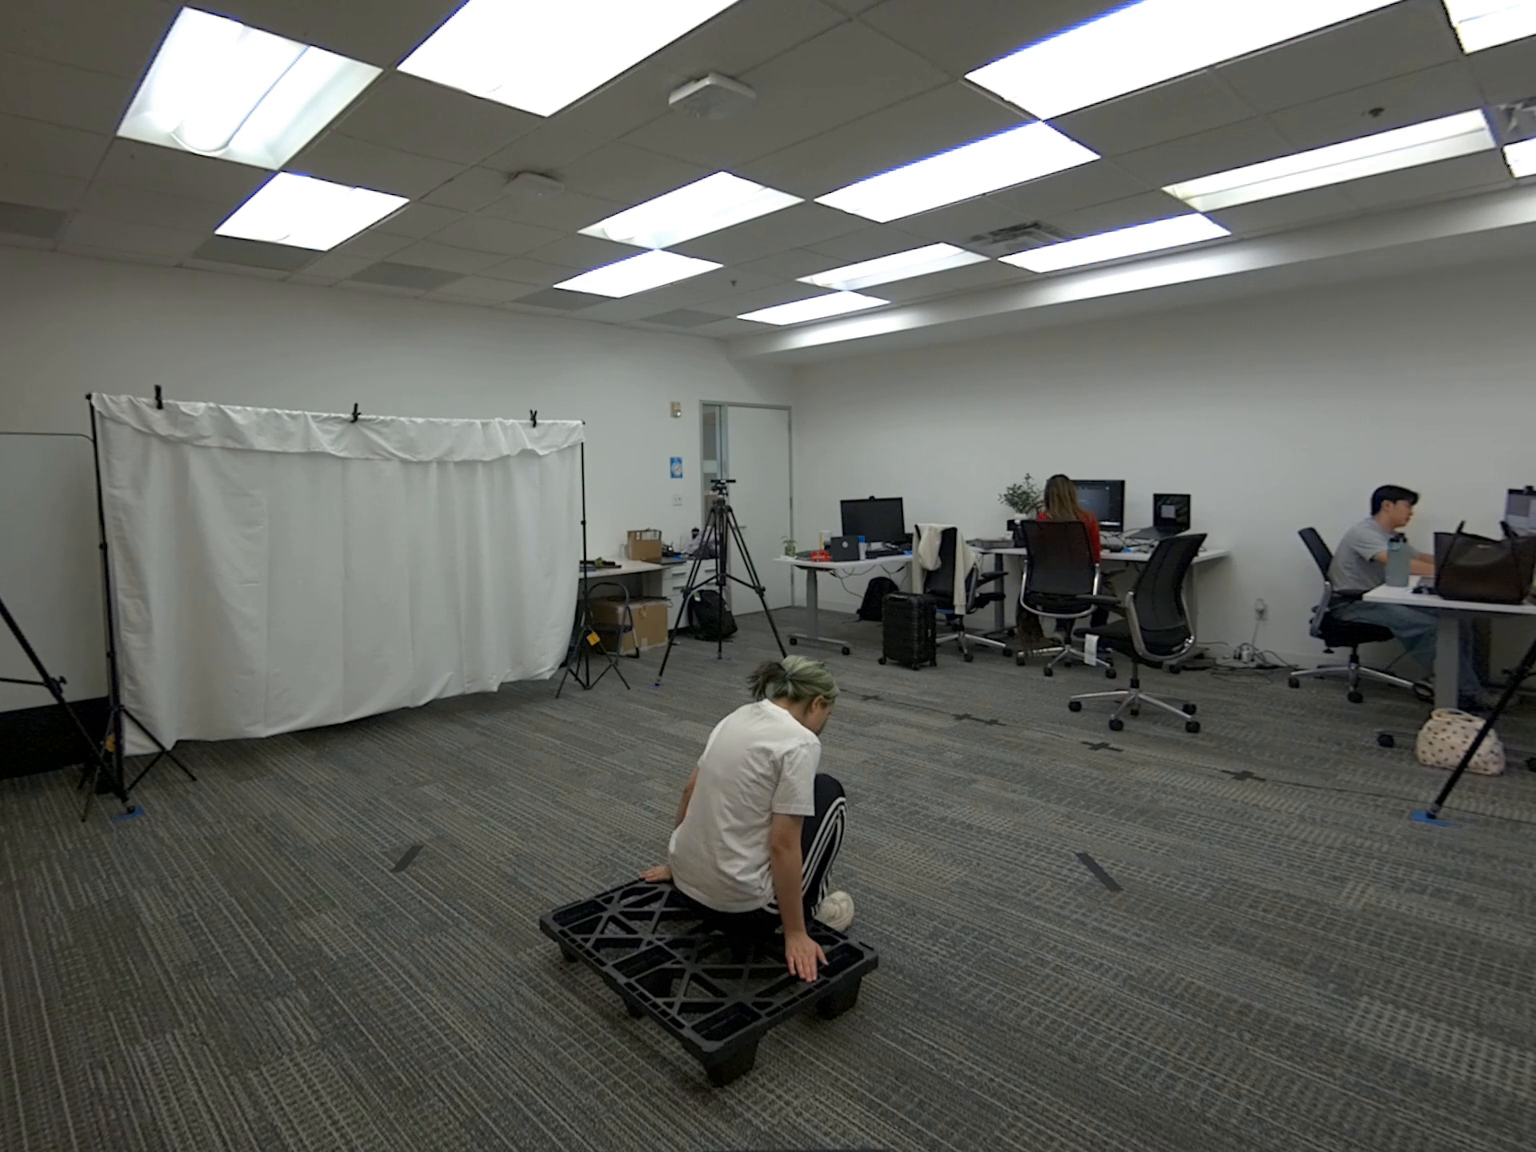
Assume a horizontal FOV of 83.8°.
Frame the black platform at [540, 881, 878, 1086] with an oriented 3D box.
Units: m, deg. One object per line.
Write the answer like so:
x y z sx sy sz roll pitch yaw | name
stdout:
-0.183 1.065 2.400 0.589 0.142 0.831 -6 9 -41 | black platform
